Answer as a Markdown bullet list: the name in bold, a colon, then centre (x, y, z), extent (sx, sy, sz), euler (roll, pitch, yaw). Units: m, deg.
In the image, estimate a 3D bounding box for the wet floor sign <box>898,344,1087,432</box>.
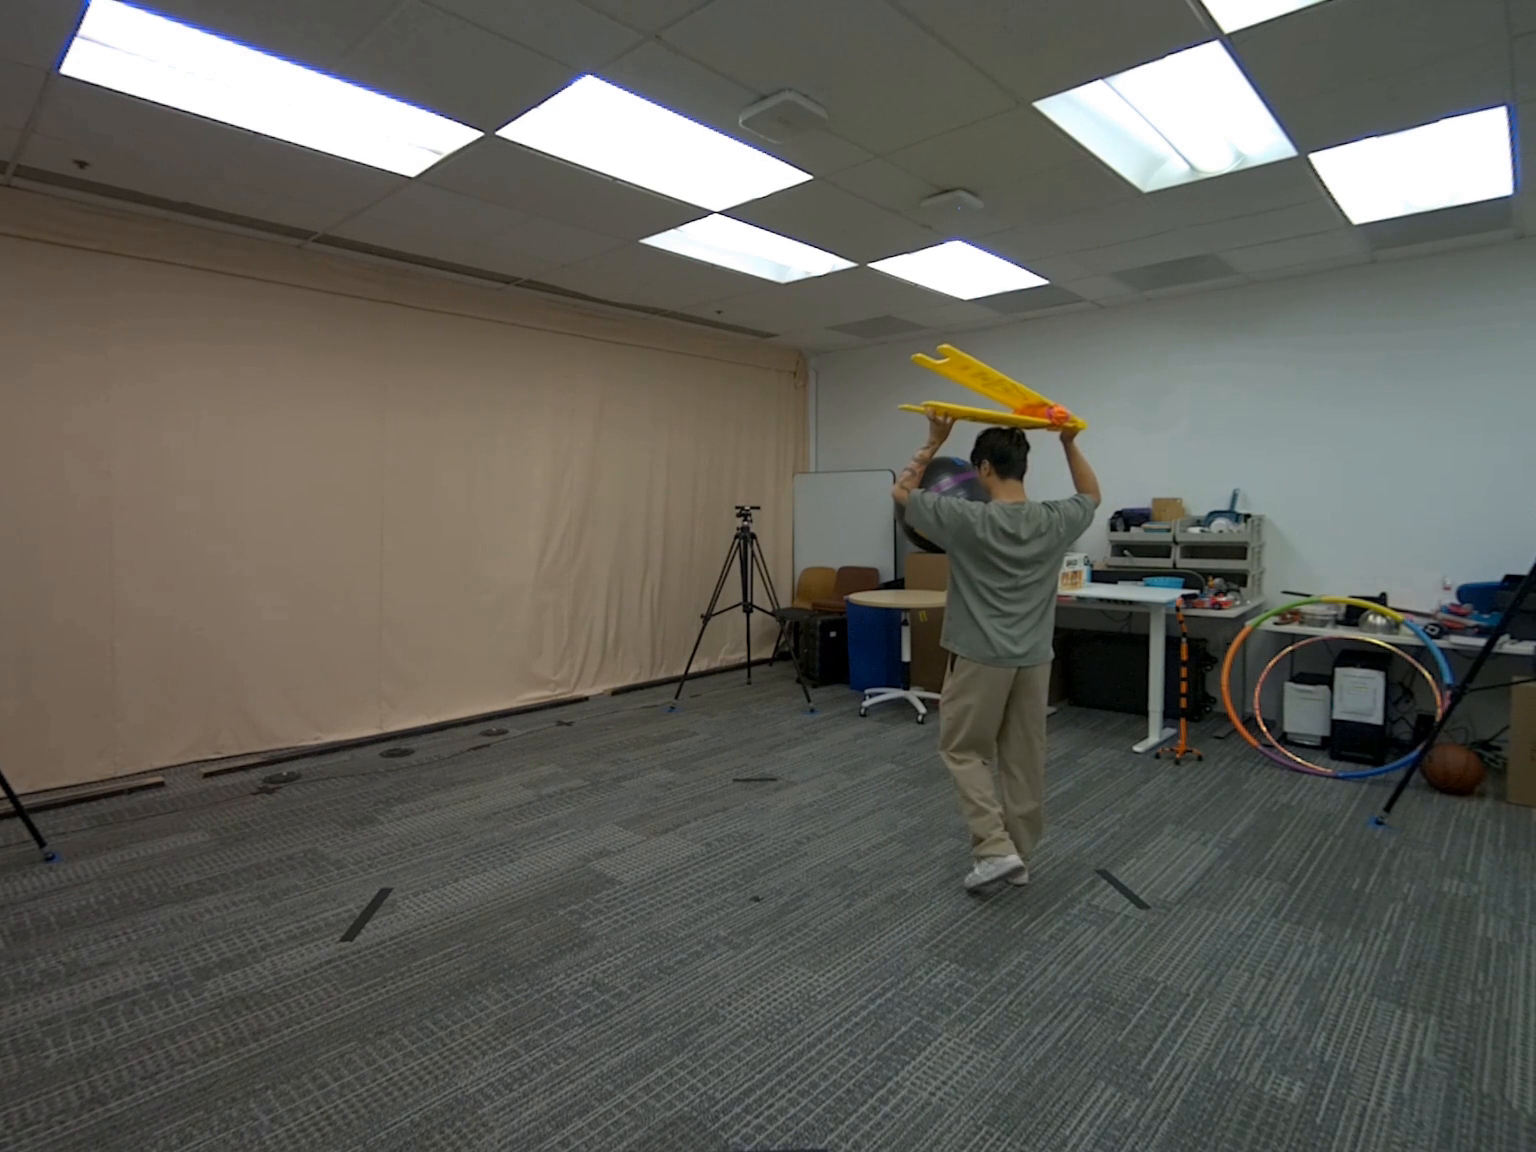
- **wet floor sign**: centre (0.859, -0.639, 3.112), extent (0.636, 0.289, 0.287), euler (12, 3, -14)
